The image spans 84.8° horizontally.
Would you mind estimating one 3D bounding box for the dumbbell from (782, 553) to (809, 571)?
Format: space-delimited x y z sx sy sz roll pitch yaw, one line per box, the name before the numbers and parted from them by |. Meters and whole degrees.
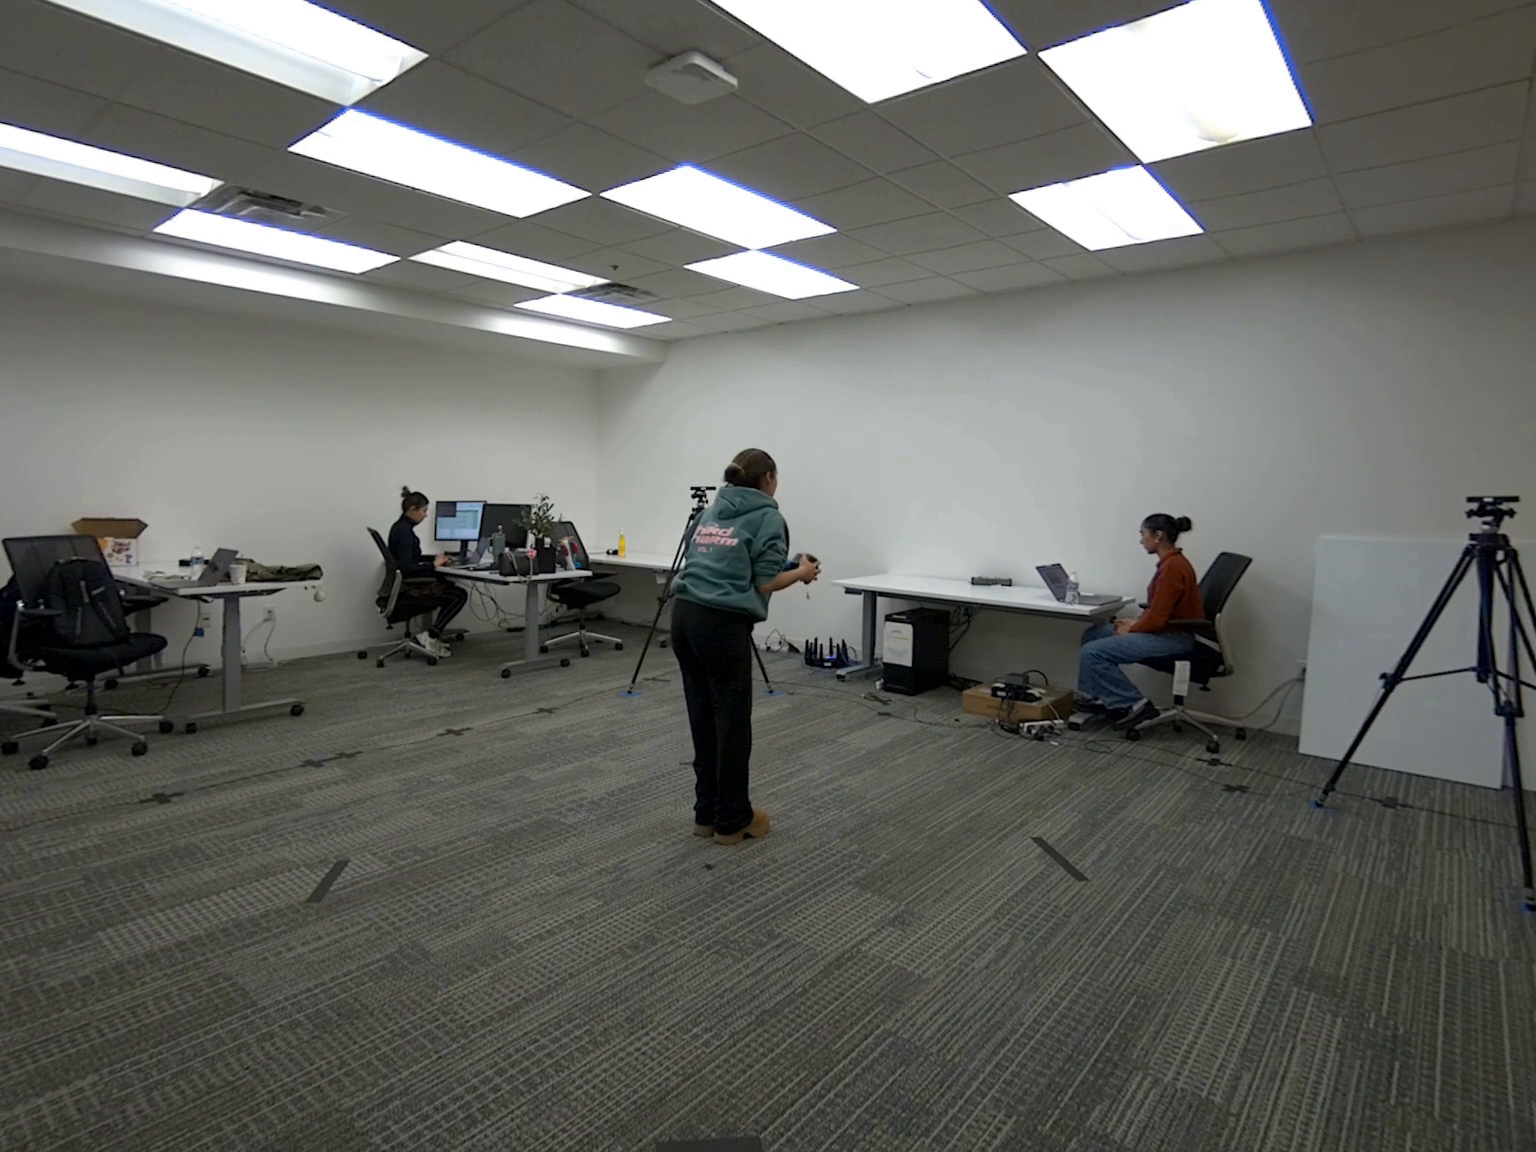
dumbbell | 0.055 -0.039 3.599 0.304 0.109 0.118 7 -17 45
